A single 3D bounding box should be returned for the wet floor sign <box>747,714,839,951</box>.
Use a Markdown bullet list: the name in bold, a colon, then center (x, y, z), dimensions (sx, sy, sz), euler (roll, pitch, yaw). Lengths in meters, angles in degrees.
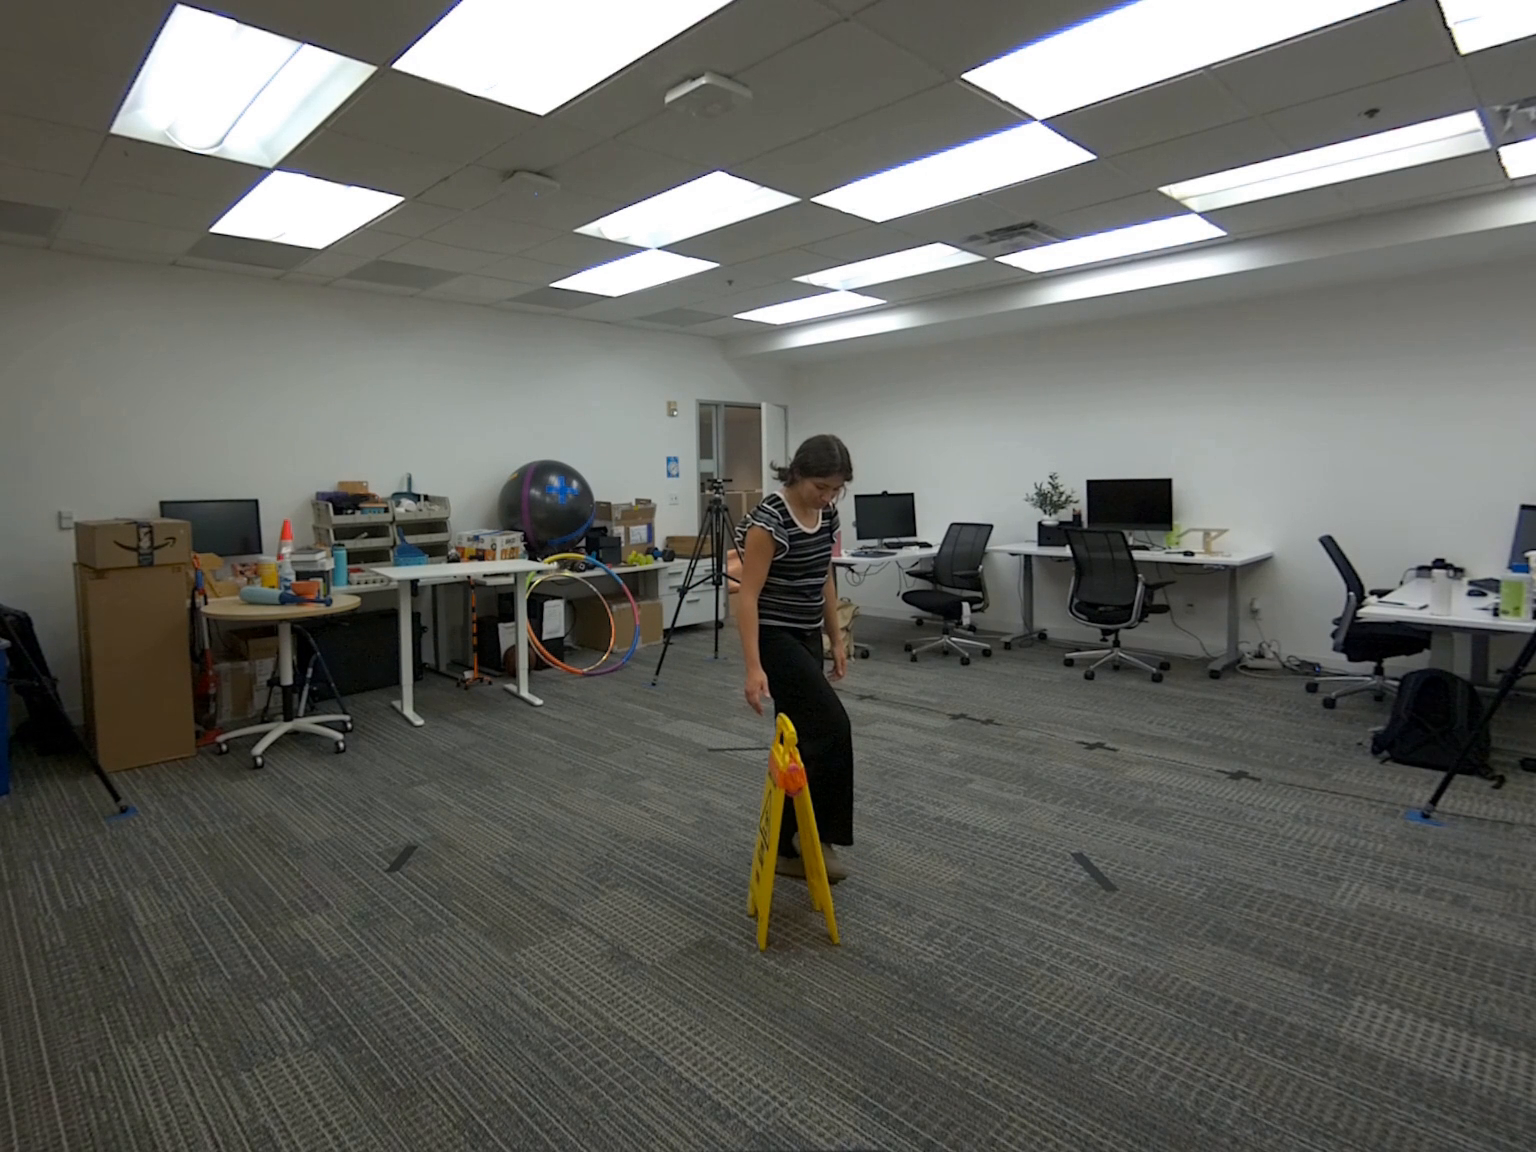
- **wet floor sign**: center (0.064, 0.772, 2.643), dimensions (0.288, 0.644, 0.284), euler (-3, 3, -6)
